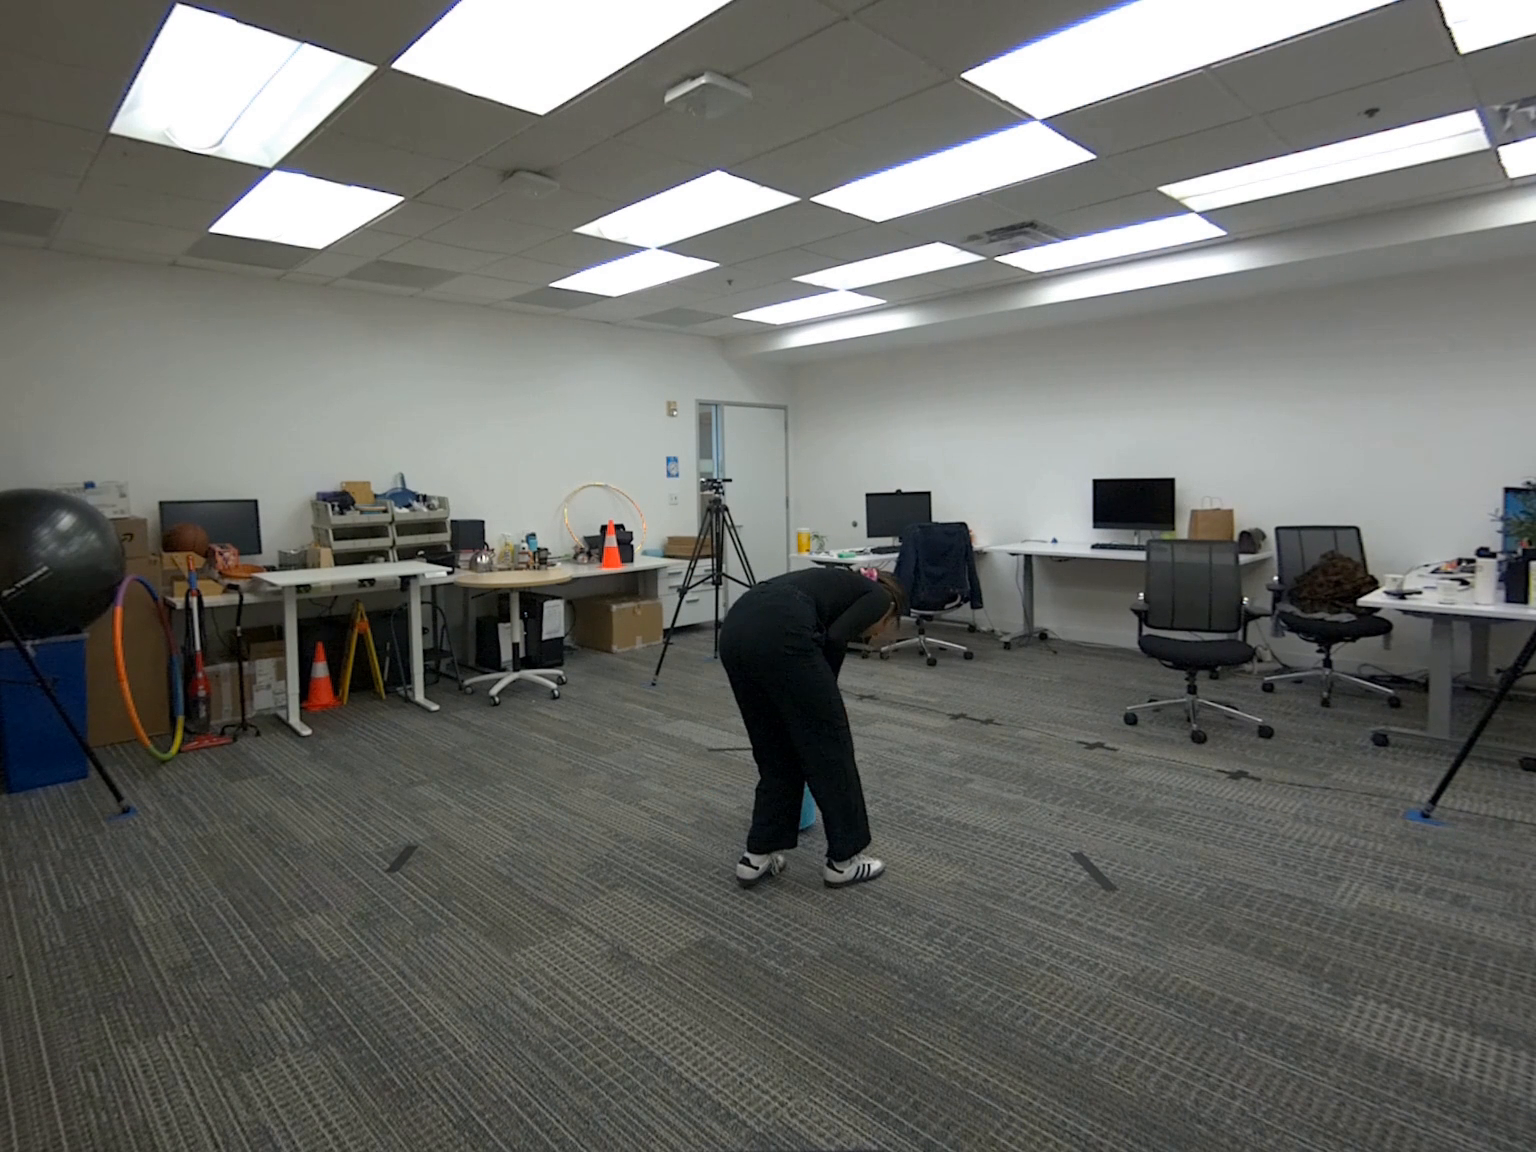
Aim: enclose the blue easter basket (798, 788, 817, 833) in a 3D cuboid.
[{"bbox_3d":[0.092,0.913,3.431,0.243,0.155,0.245,-11,6,-1],"label":"blue easter basket"}]
